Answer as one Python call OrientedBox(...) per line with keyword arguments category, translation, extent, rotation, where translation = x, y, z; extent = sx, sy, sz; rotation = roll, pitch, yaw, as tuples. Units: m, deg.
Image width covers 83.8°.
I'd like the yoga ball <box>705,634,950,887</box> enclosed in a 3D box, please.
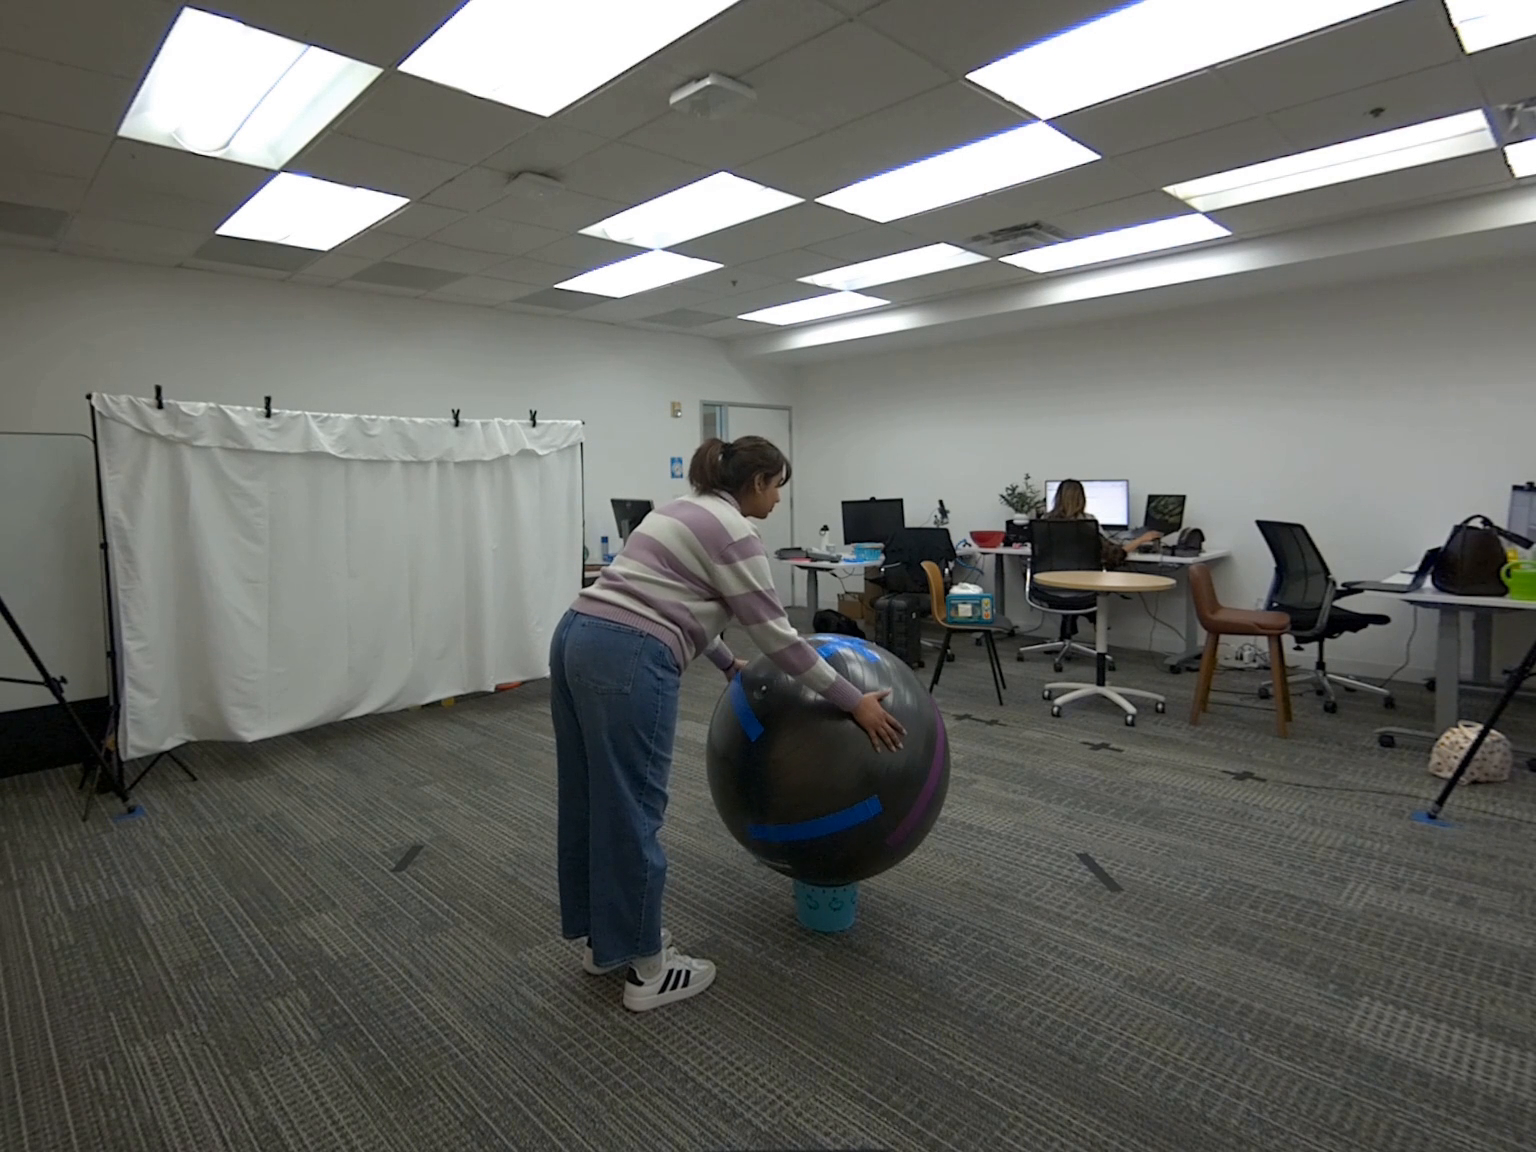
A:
OrientedBox(category="yoga ball", translation=(0.189, 0.572, 2.682), extent=(0.757, 0.755, 0.762), rotation=(-1, 5, -2))
